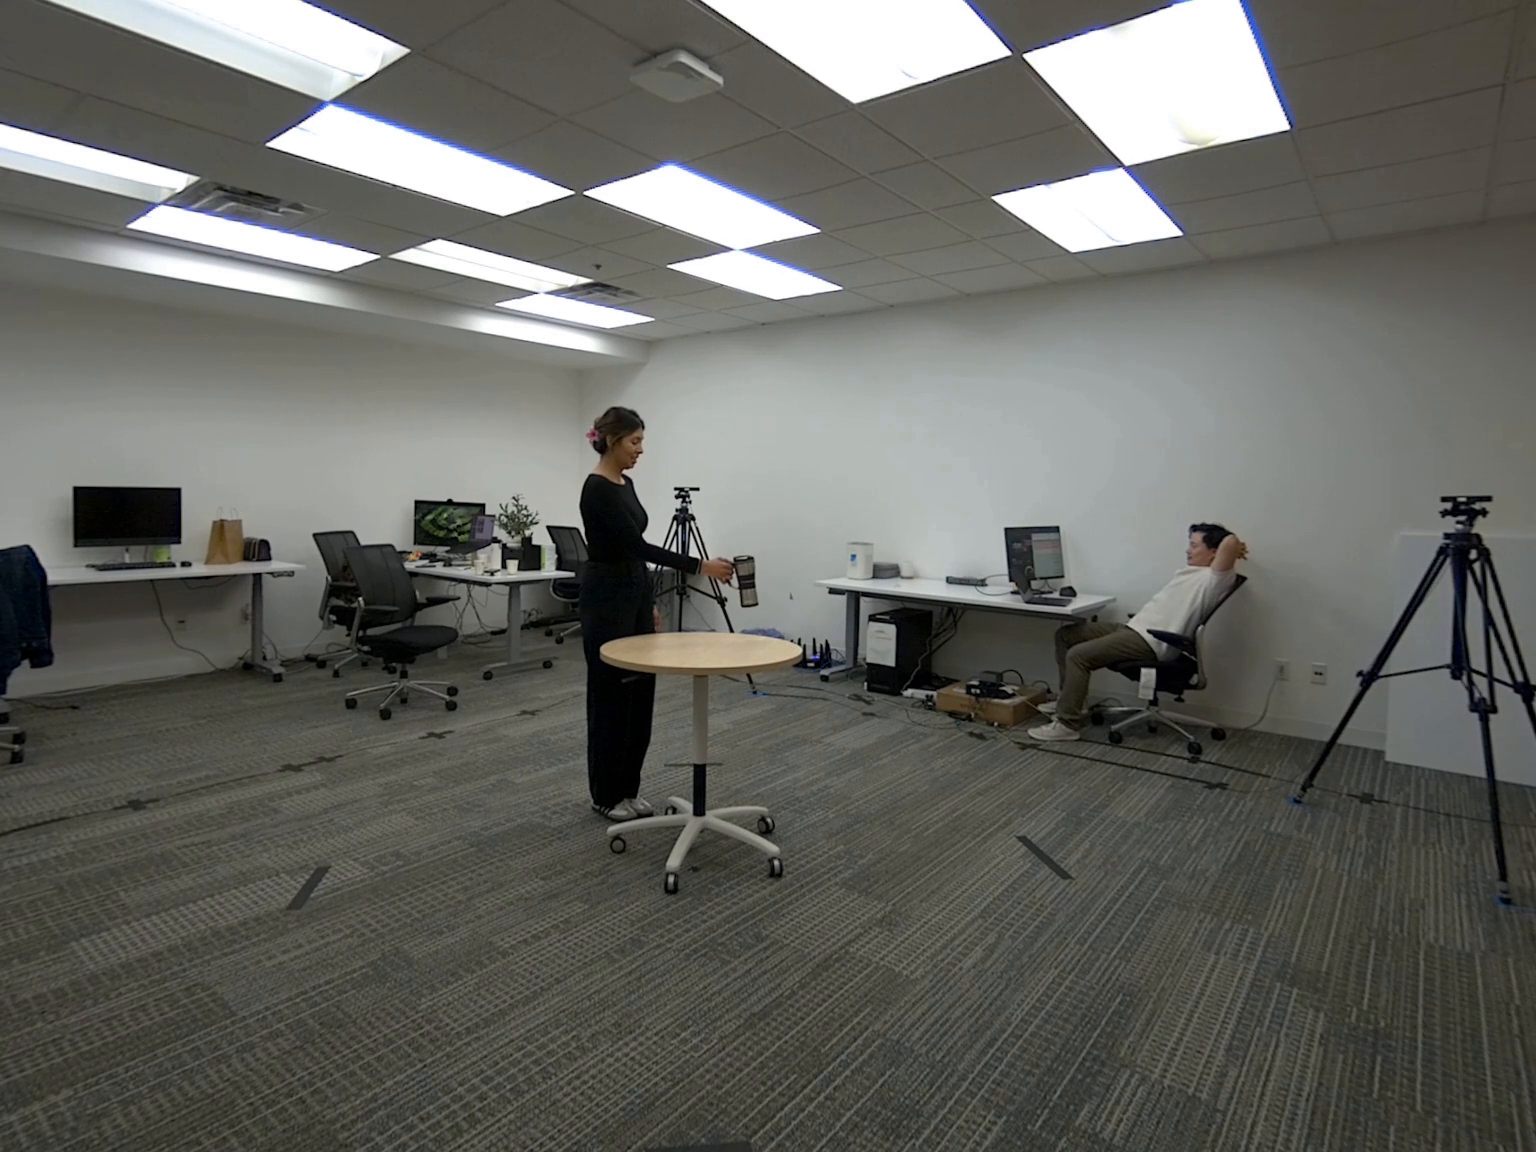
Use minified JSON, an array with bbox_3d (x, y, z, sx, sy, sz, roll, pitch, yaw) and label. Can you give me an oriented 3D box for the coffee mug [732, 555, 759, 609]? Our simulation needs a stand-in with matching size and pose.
[{"bbox_3d":[-0.113,0.020,3.455,0.086,0.201,0.126,-13,10,-41],"label":"coffee mug"}]
